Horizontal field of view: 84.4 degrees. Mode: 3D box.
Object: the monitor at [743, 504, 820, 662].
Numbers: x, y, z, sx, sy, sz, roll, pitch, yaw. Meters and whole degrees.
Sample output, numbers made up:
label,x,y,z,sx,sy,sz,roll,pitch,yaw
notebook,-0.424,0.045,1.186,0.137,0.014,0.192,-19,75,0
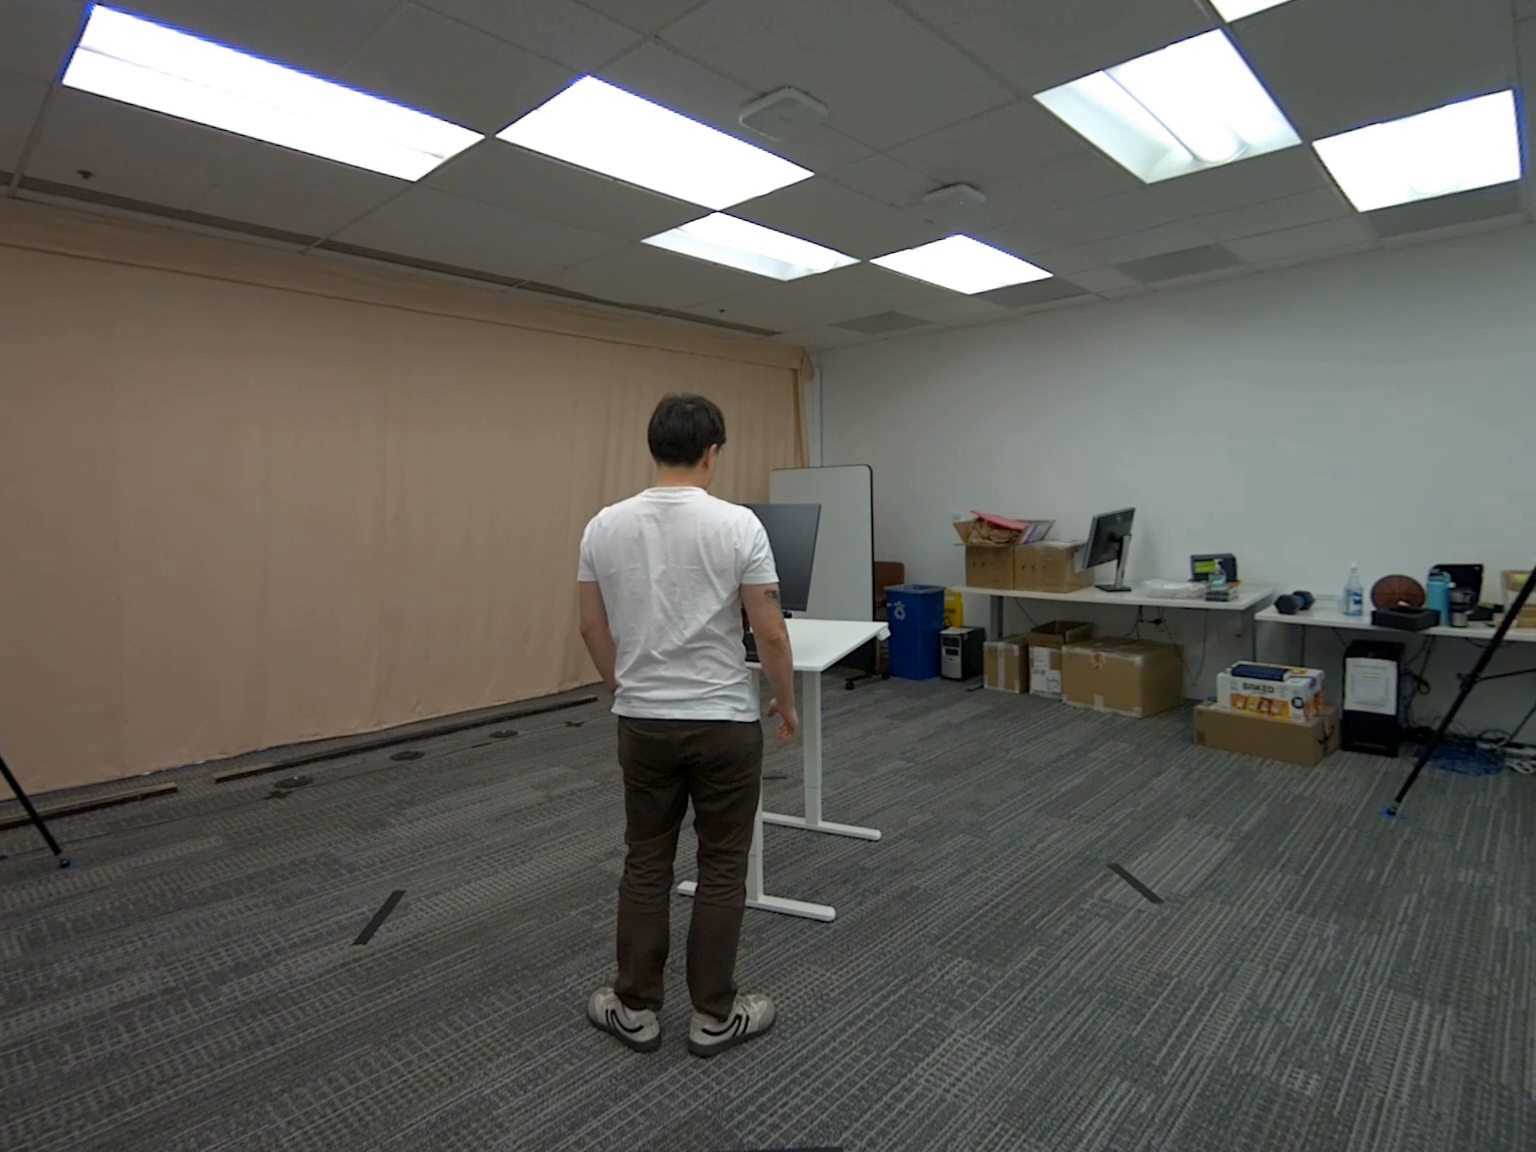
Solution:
label,x,y,z,sx,sy,sz,roll,pitch,yaw
monitor,-0.067,0.018,2.832,0.554,0.522,0.182,2,0,29
